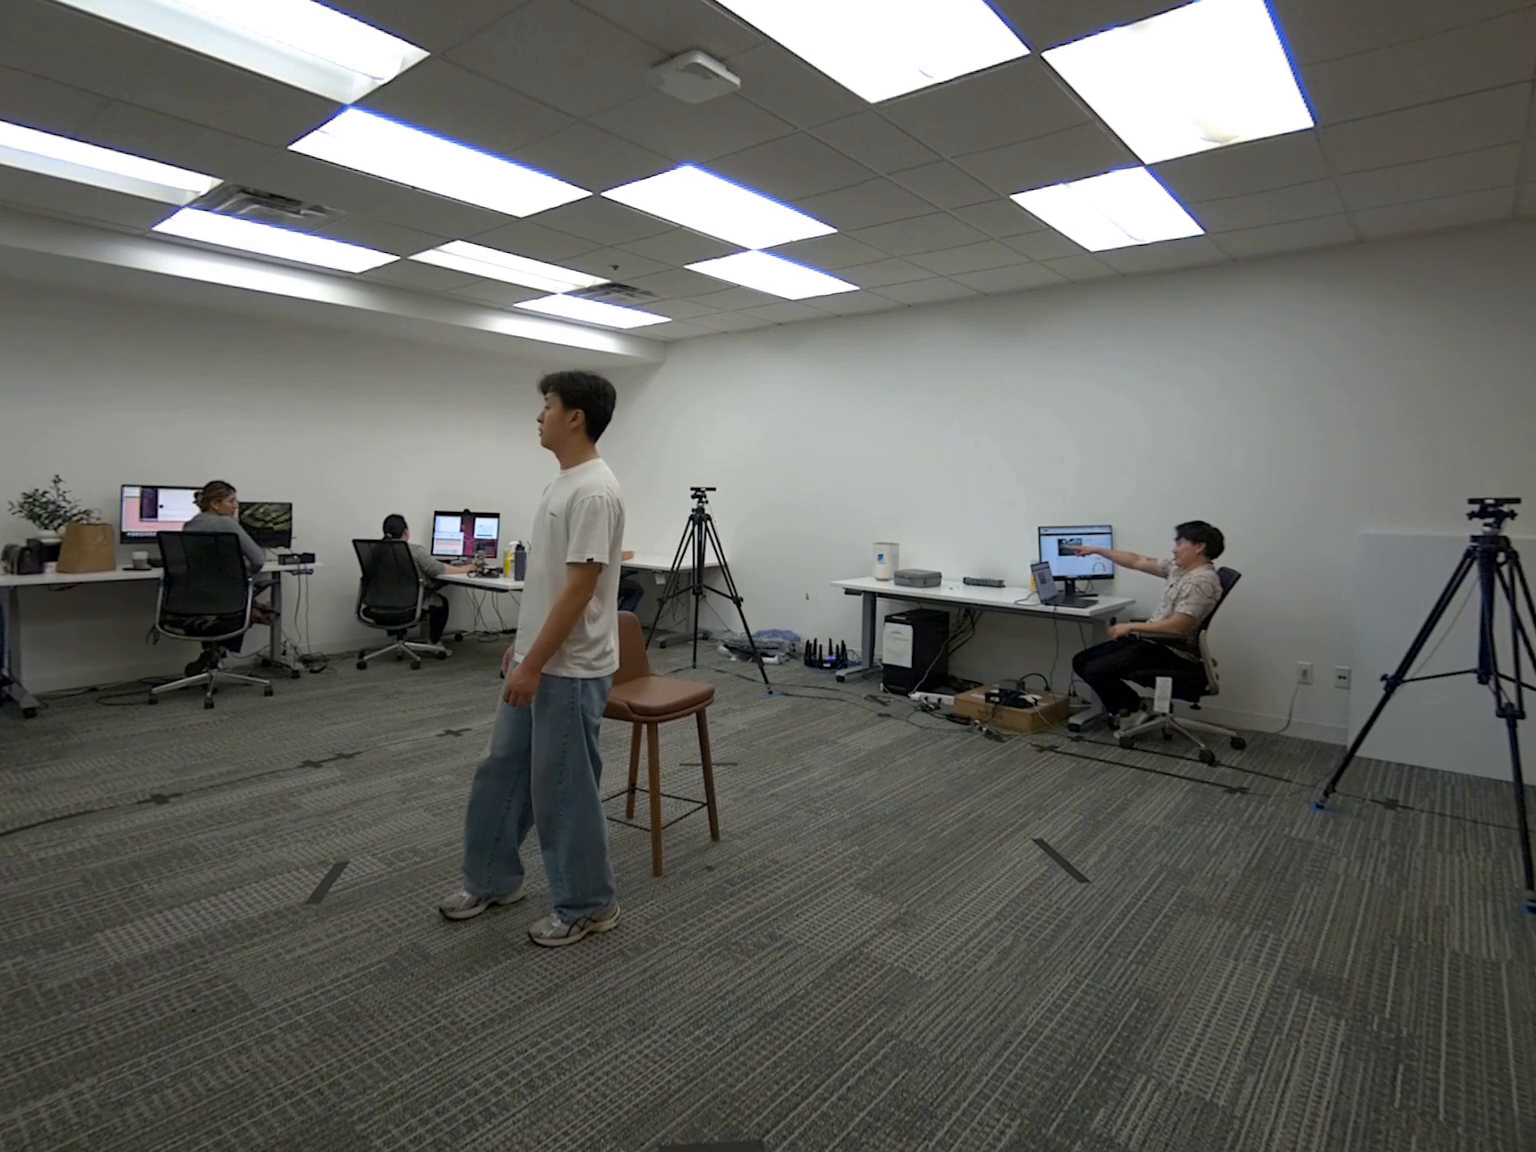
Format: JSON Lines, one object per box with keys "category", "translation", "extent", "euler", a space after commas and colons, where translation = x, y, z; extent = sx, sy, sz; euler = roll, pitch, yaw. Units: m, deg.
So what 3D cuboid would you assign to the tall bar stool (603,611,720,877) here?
{"category": "tall bar stool", "translation": [-0.490, 0.606, 3.309], "extent": [0.481, 0.889, 0.444], "euler": [0, 2, 32]}
